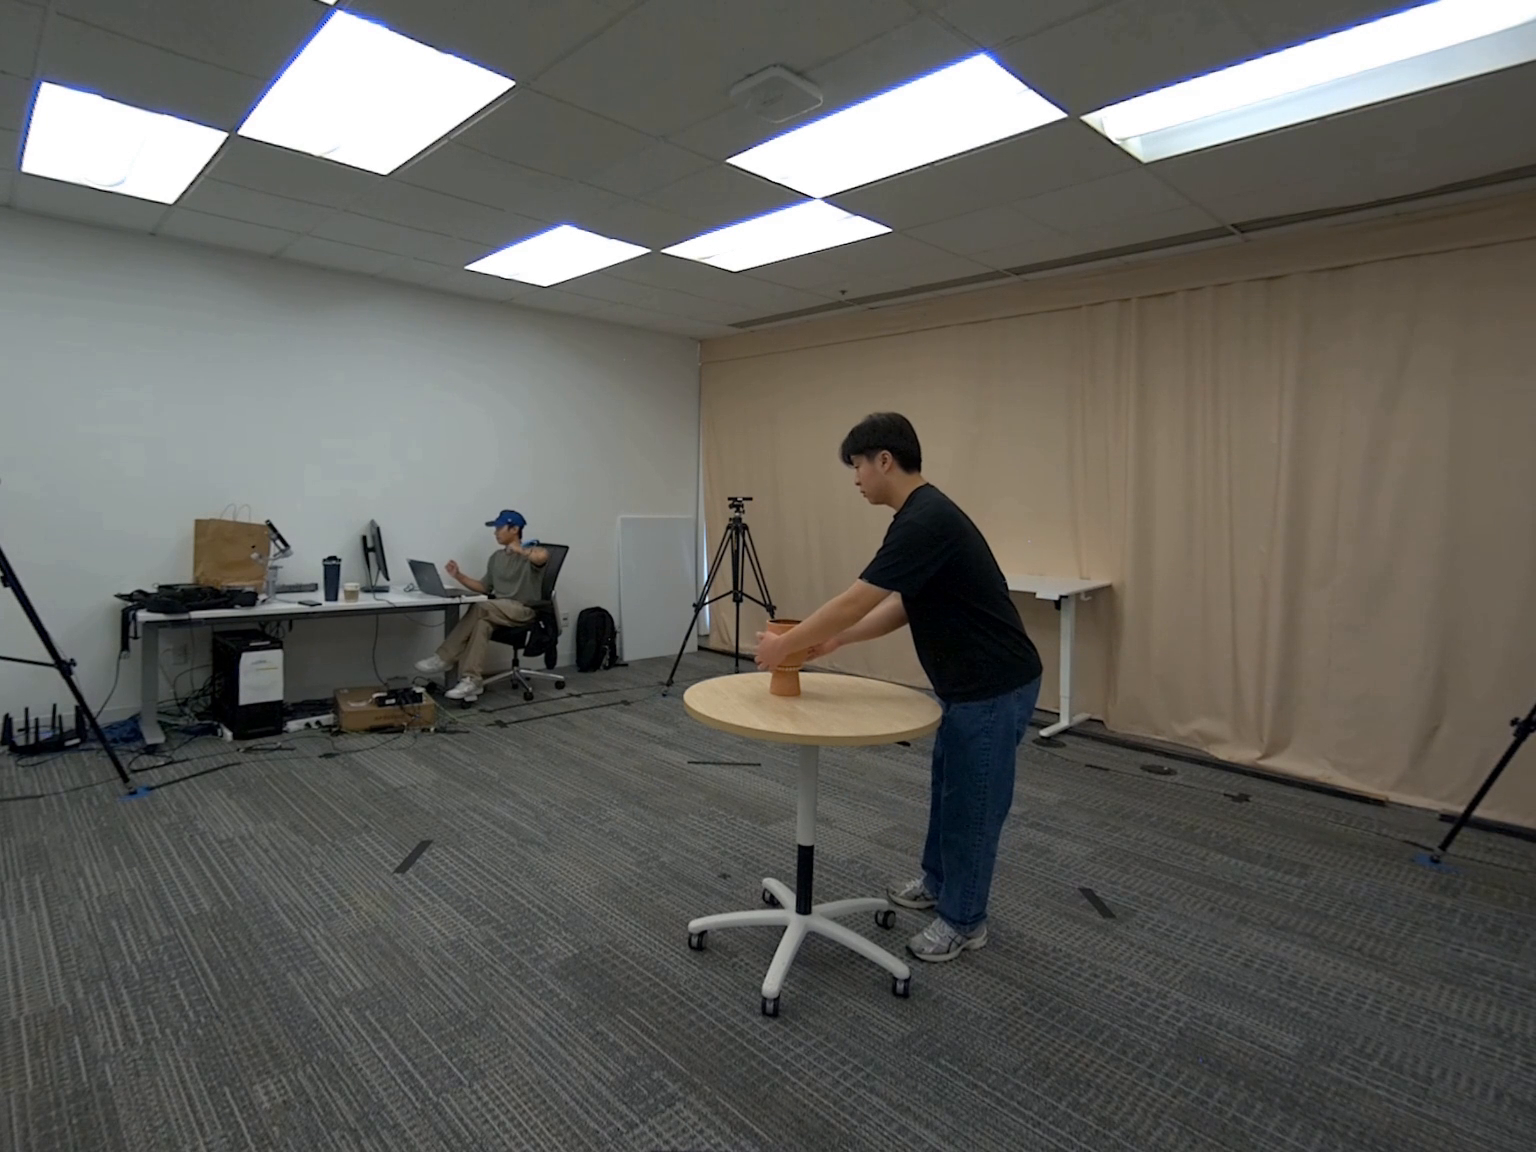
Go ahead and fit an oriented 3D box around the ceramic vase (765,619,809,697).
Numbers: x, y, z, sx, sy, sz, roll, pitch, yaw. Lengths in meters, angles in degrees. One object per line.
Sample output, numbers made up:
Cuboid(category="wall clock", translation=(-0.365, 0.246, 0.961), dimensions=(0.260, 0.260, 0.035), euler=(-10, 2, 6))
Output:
Cuboid(category="ceramic vase", translation=(0.054, 0.250, 2.594), dimensions=(0.137, 0.219, 0.156), euler=(3, 5, 30))
